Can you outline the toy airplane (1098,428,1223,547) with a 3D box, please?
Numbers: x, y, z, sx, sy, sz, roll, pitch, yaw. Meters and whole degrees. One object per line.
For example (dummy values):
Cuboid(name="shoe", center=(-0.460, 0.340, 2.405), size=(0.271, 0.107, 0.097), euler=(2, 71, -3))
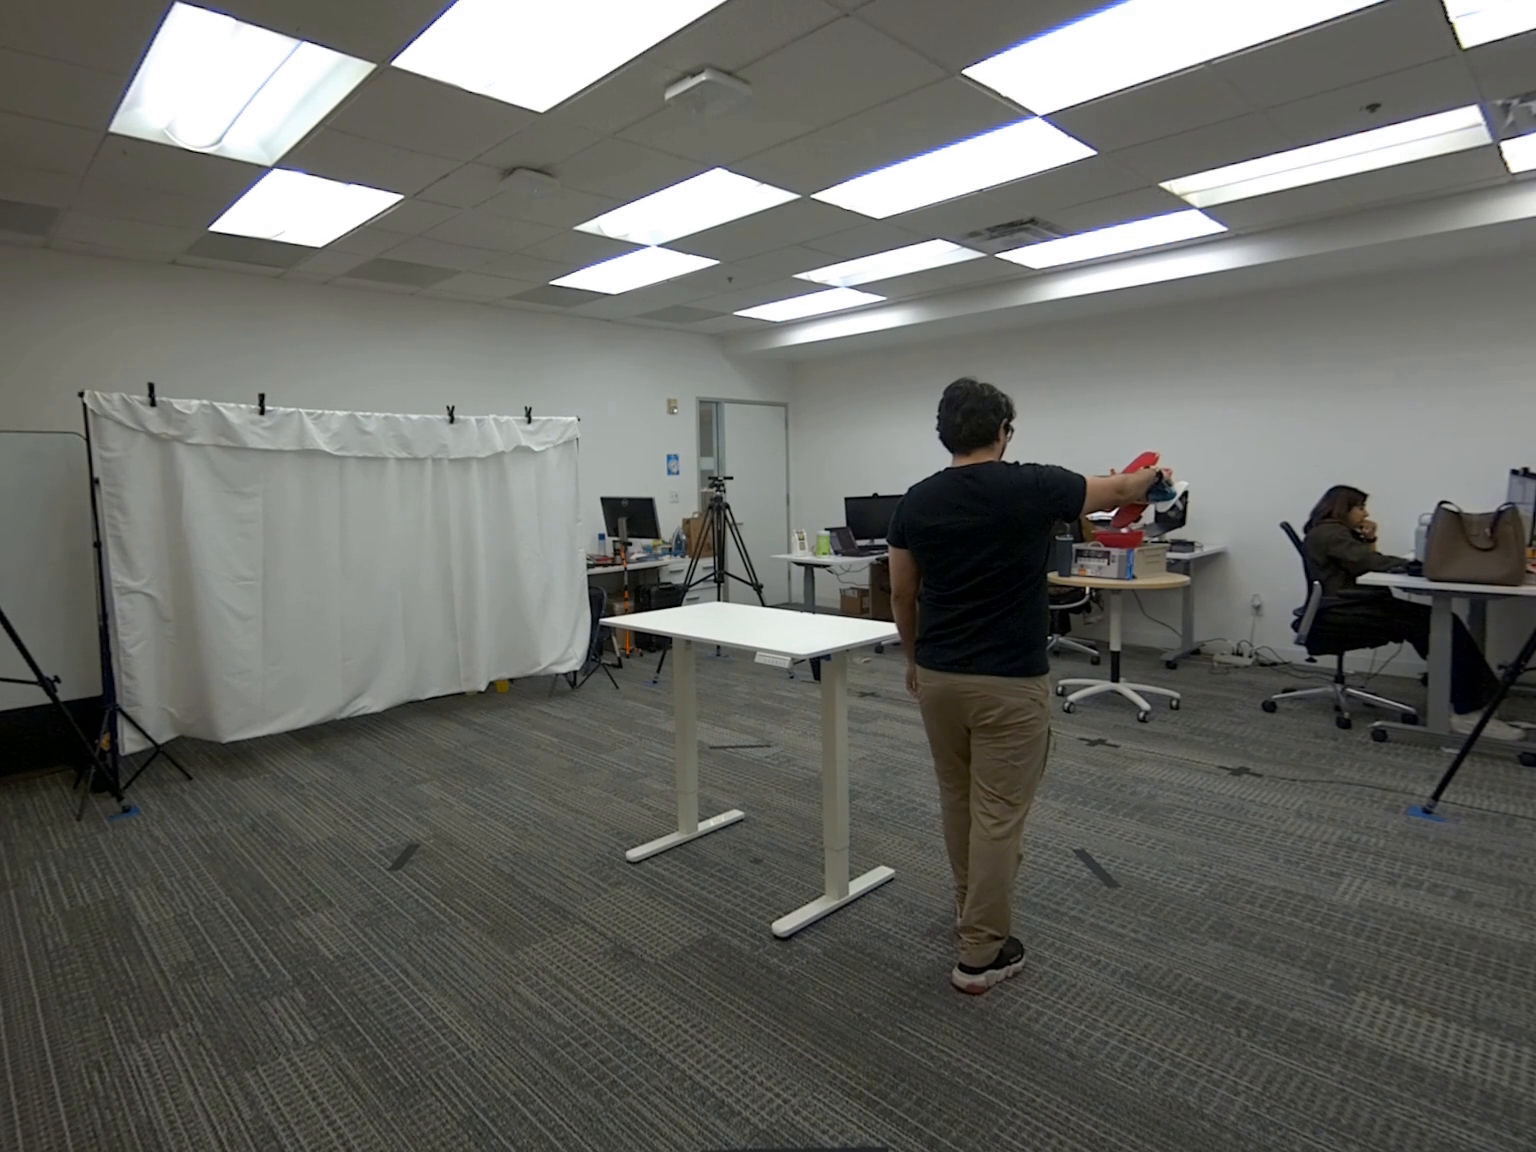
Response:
Cuboid(name="toy airplane", center=(1.219, -0.276, 2.670), size=(0.252, 0.155, 0.260), euler=(-54, 9, -33))
